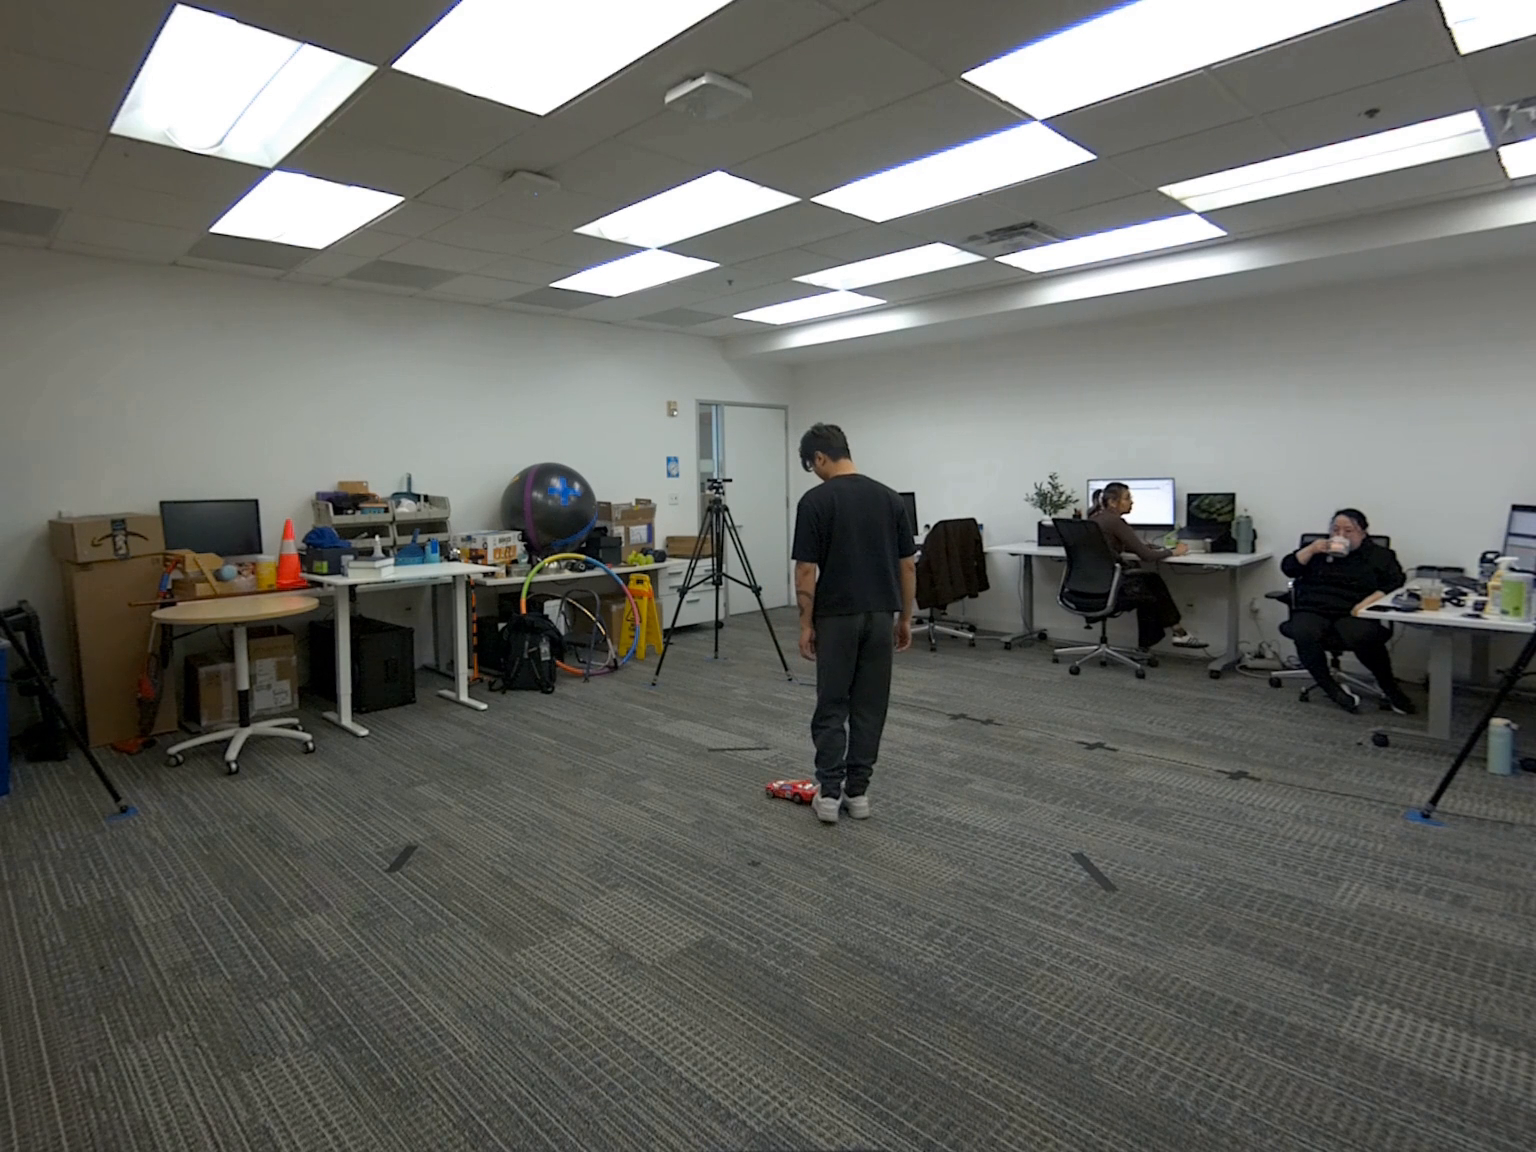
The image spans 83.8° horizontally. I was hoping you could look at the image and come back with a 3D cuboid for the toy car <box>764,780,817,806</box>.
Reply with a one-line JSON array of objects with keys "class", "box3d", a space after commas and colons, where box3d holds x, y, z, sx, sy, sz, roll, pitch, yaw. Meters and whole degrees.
[{"class": "toy car", "box3d": [0.115, 0.936, 3.732, 0.260, 0.083, 0.127, -12, -3, 36]}]
